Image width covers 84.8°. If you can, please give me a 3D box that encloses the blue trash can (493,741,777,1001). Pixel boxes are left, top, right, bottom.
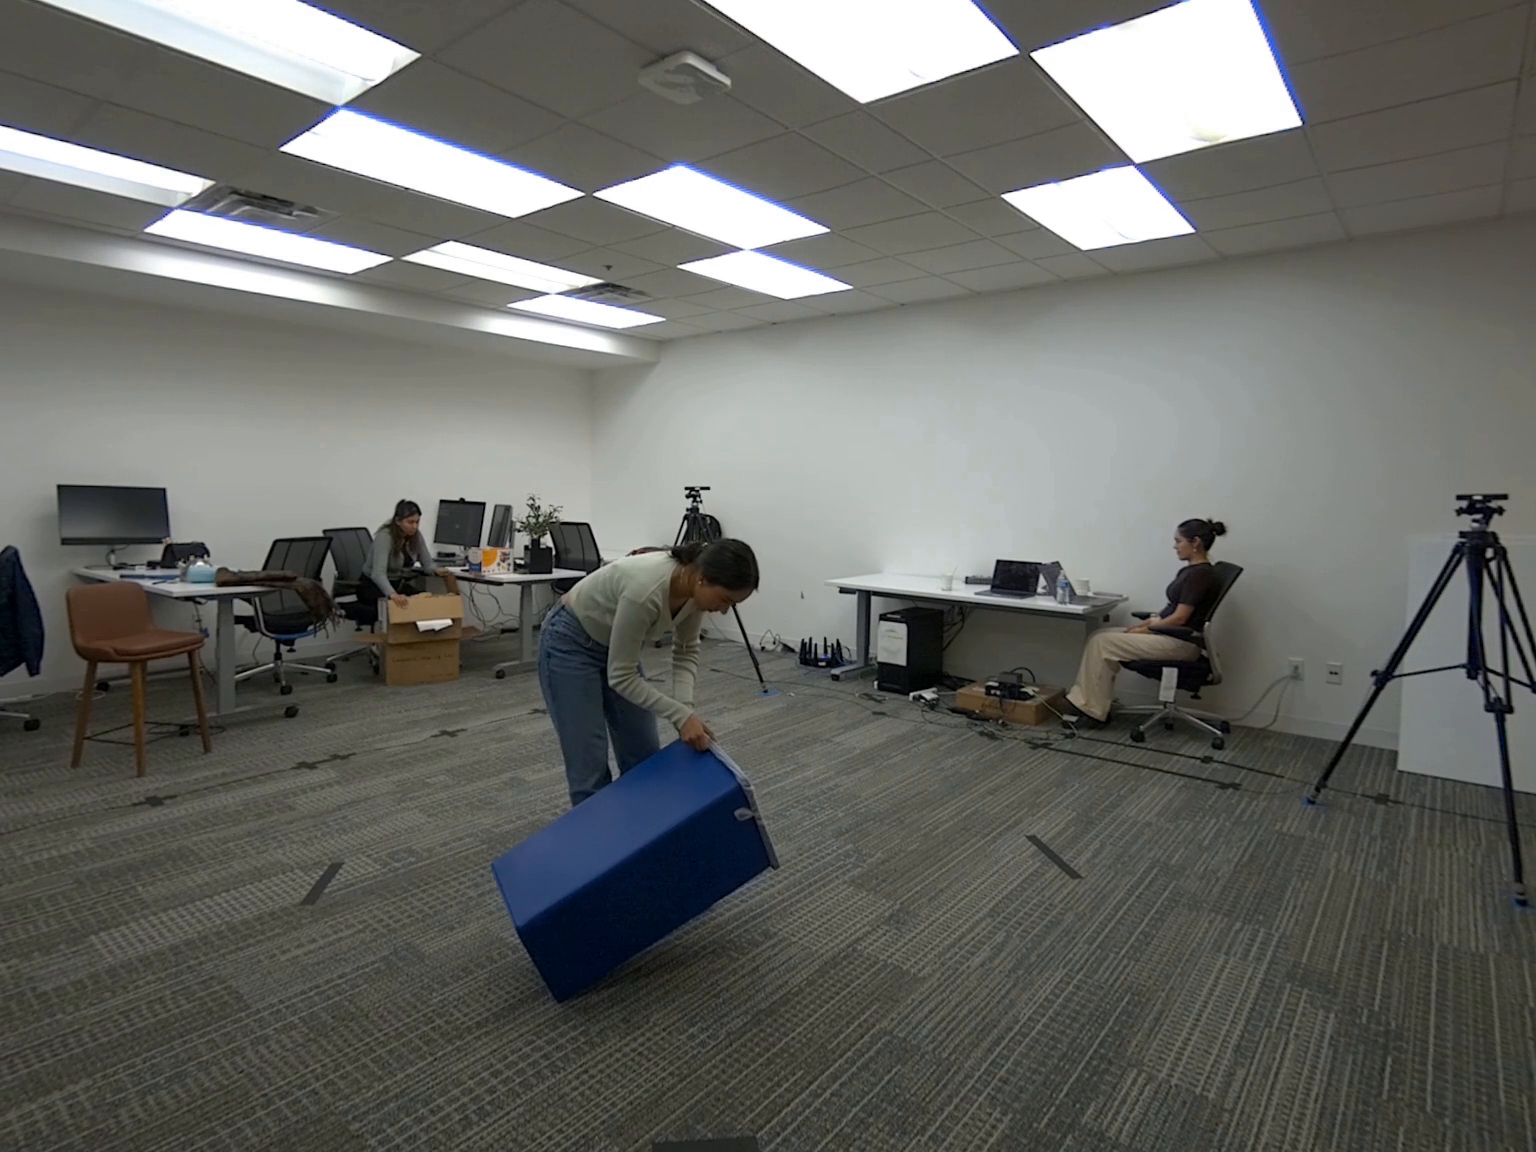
[{"bbox_3d":[-0.394,0.813,2.462,0.707,0.367,0.388,-28,27,-19],"label":"blue trash can"}]
